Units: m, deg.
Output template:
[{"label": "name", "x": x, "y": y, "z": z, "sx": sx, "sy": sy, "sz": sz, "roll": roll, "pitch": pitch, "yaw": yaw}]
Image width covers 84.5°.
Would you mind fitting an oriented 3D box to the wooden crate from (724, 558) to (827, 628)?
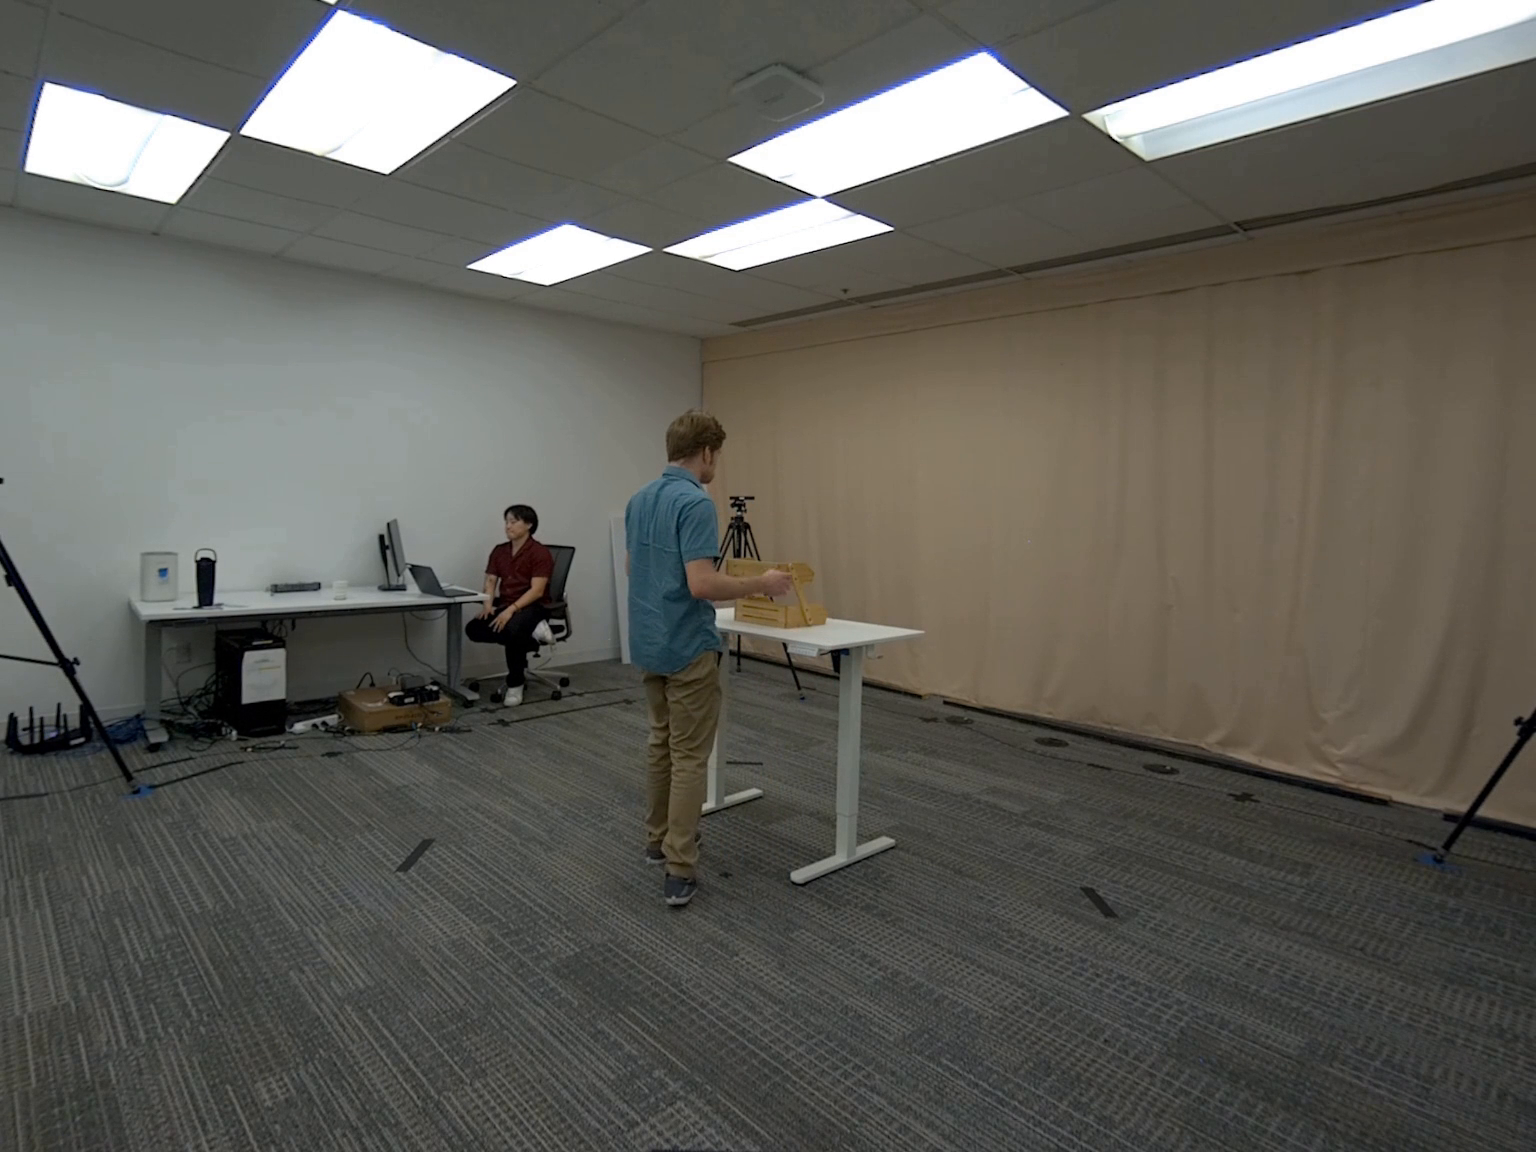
[{"label": "wooden crate", "x": 0.033, "y": 0.061, "z": 3.475, "sx": 0.295, "sy": 0.273, "sz": 0.333, "roll": -3, "pitch": 5, "yaw": -44}]
